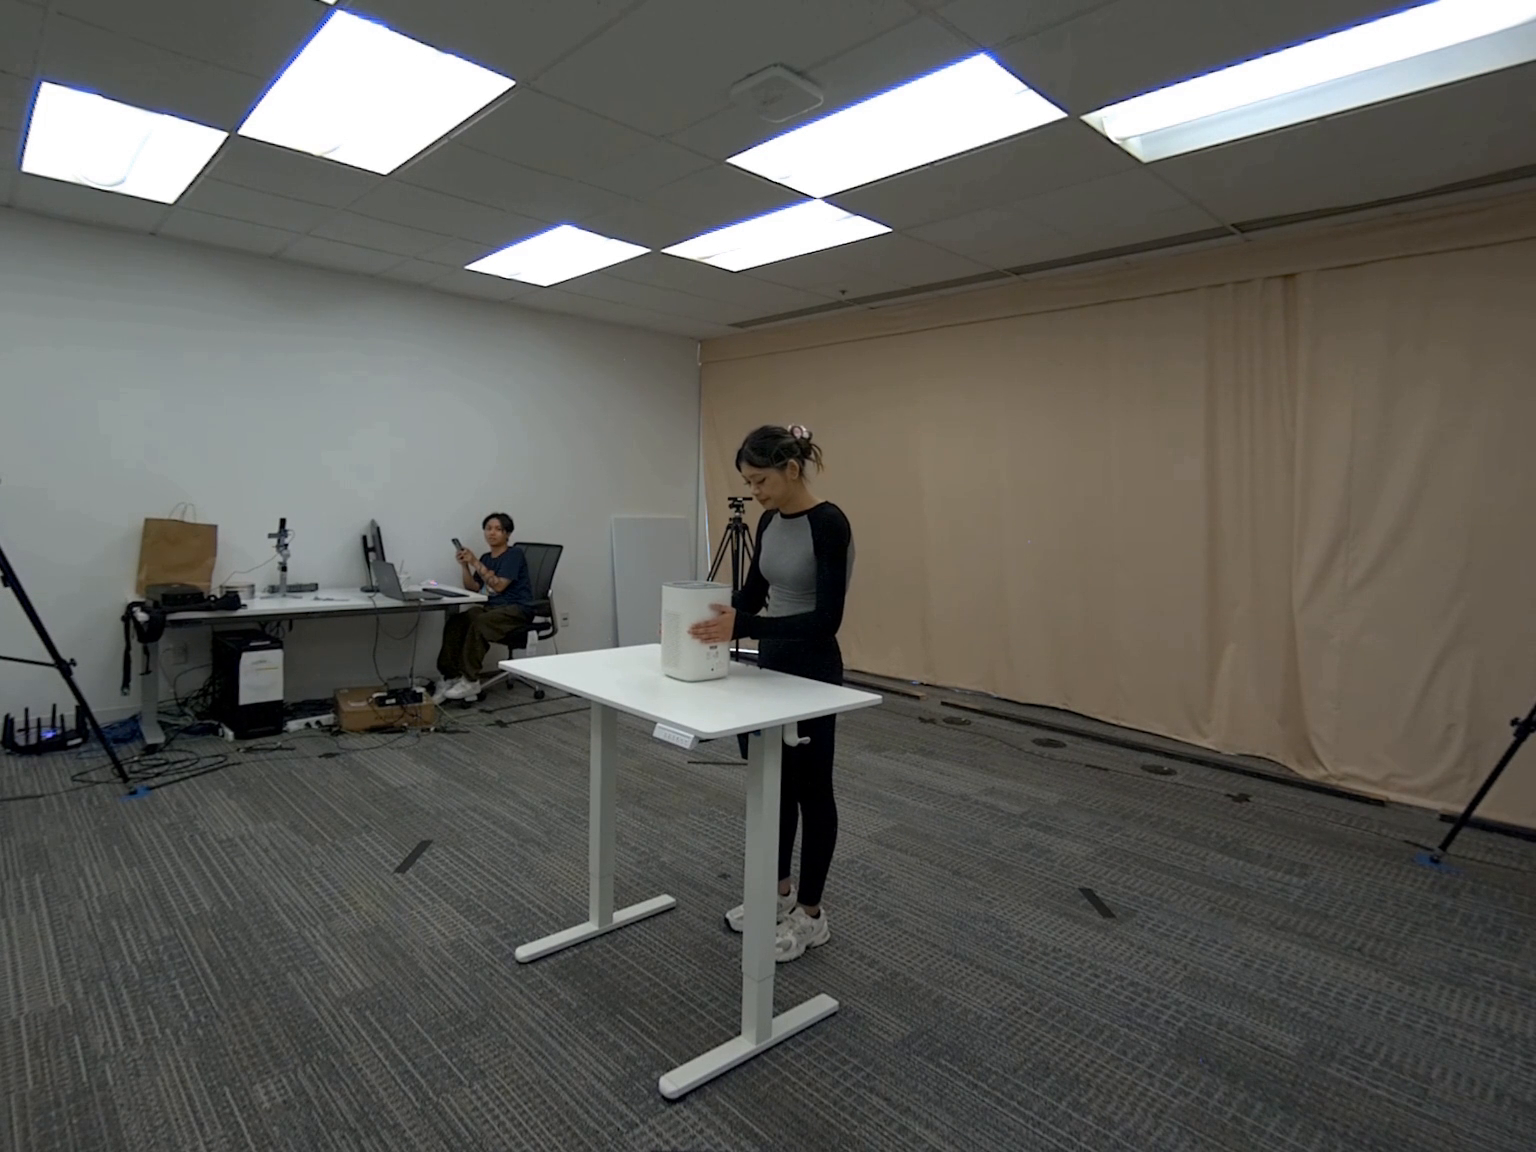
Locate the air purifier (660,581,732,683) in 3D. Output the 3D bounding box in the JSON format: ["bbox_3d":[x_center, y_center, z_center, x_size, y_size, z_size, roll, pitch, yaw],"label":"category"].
[{"bbox_3d":[-0.206,0.155,2.401,0.167,0.265,0.176,1,3,-41],"label":"air purifier"}]
